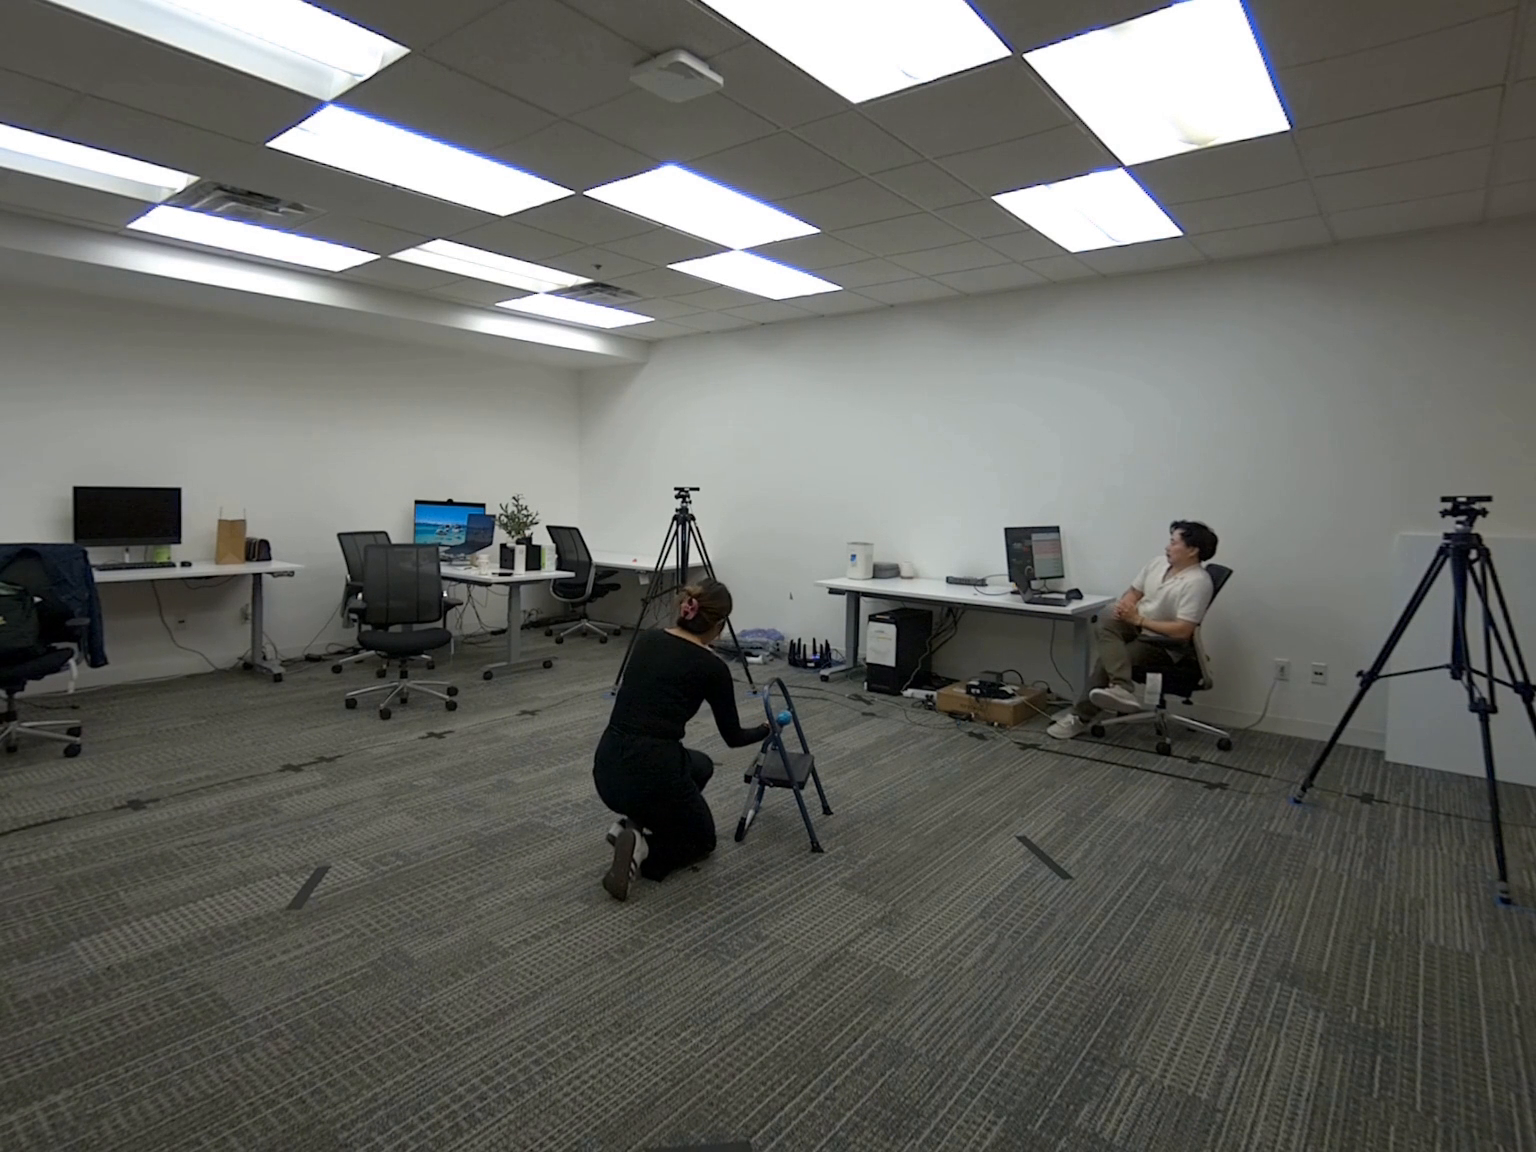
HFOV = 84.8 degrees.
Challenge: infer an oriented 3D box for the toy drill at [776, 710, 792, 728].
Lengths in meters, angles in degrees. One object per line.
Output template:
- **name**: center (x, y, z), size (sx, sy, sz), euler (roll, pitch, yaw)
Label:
- **toy drill**: center (0.022, 0.602, 3.549), size (0.147, 0.062, 0.167), euler (-31, -5, 13)
